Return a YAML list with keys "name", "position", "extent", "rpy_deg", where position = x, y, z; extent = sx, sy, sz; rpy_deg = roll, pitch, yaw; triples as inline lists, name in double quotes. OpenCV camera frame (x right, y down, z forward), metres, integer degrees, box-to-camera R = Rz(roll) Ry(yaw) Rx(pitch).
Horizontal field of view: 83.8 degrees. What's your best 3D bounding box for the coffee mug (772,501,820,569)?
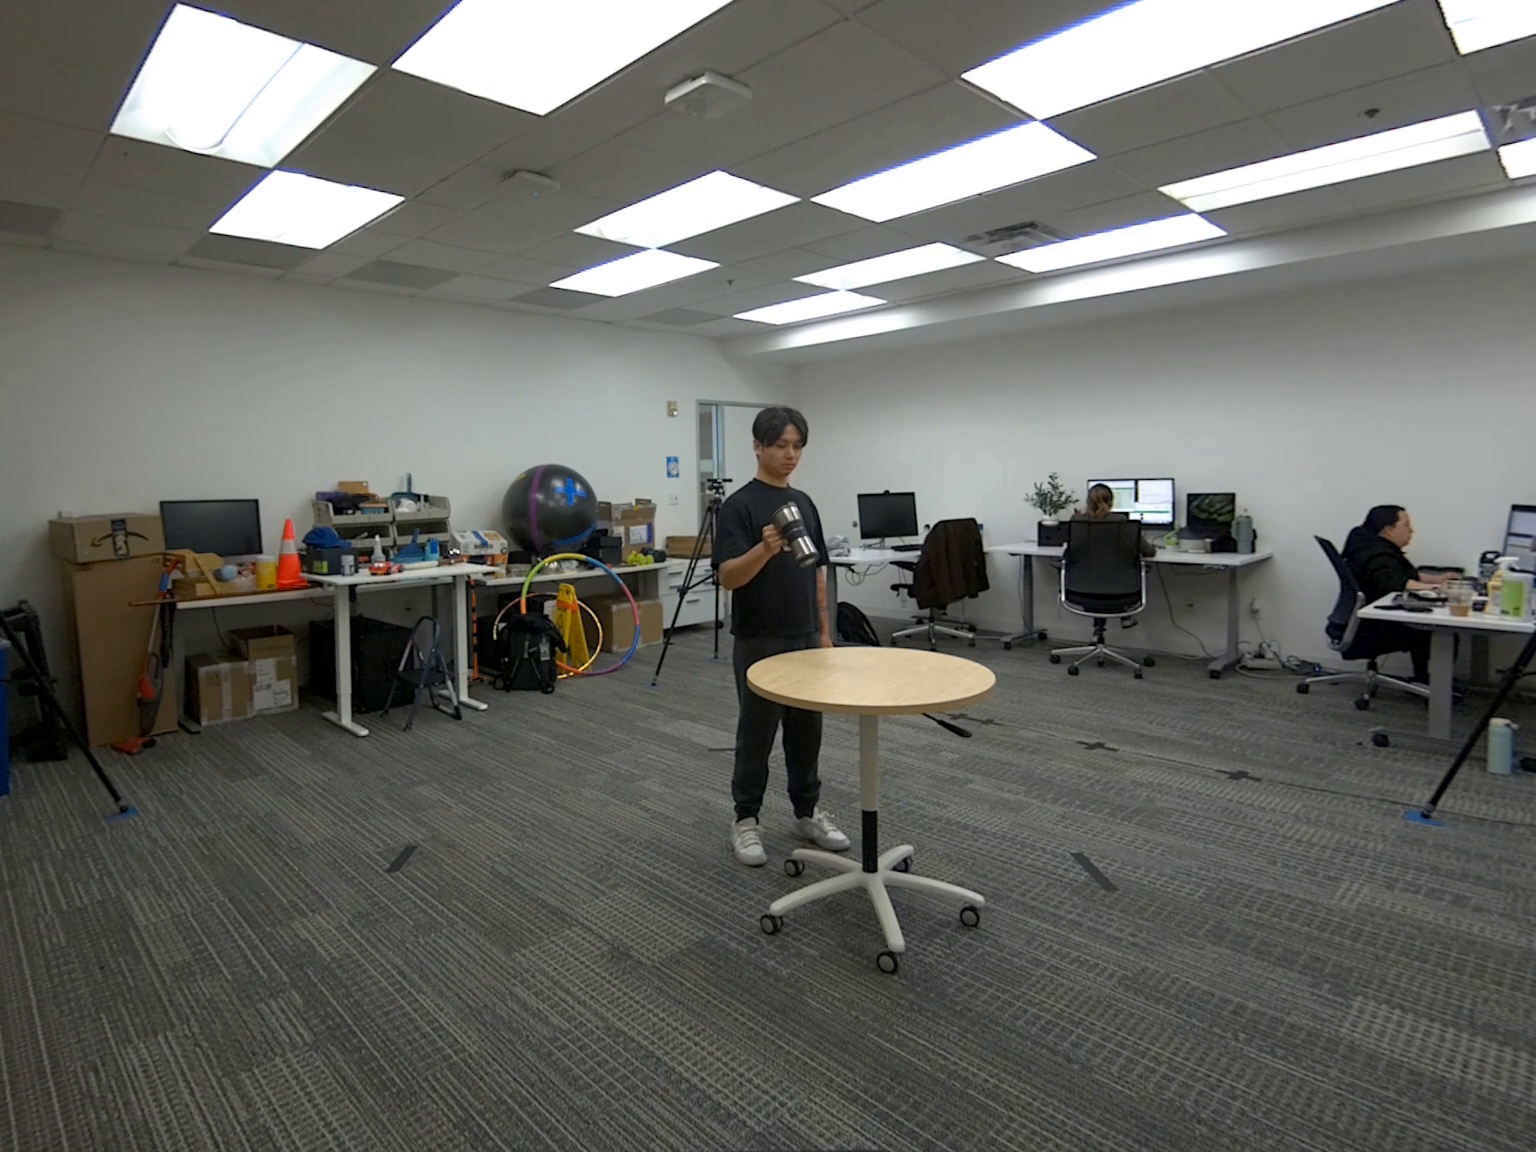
- name: "coffee mug"
  position: [0.101, -0.132, 2.699]
  extent: [0.119, 0.208, 0.087]
  rpy_deg: [-9, -28, -34]
